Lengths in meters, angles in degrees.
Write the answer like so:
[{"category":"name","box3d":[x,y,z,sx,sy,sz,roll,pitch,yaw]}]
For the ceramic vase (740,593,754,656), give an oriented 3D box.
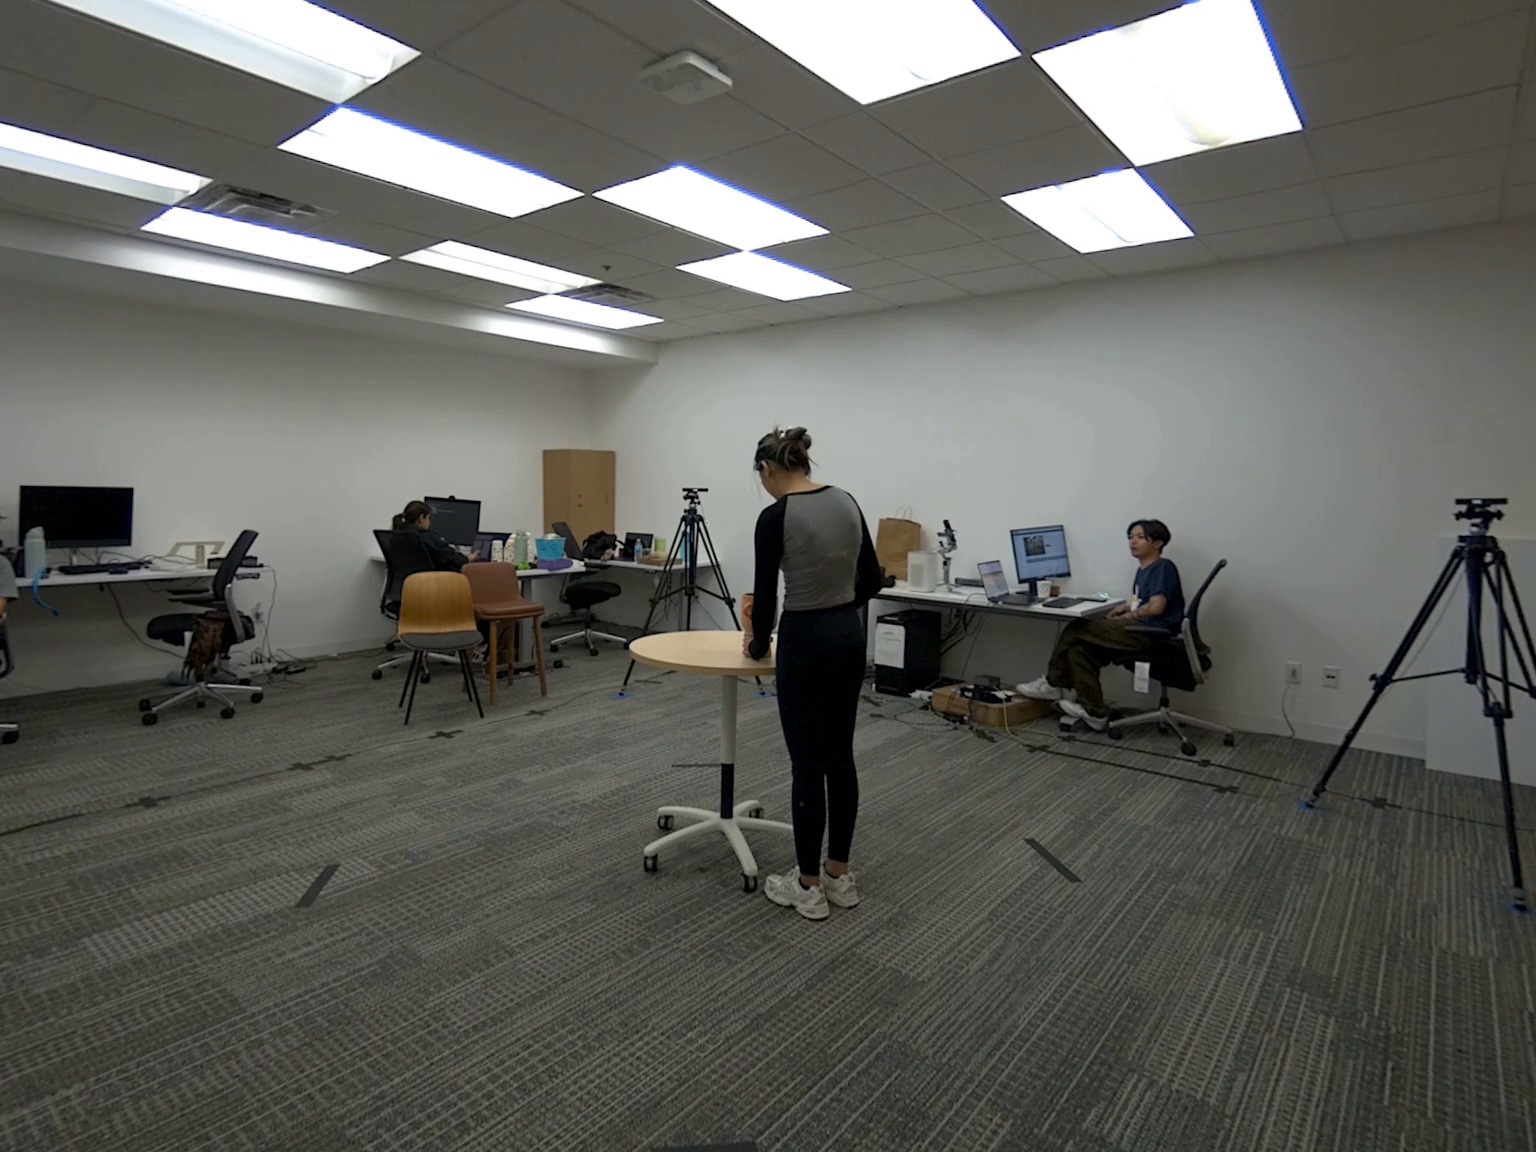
[{"category":"ceramic vase","box3d":[-0.040,0.174,3.048,0.156,0.219,0.137,3,2,-16]}]
